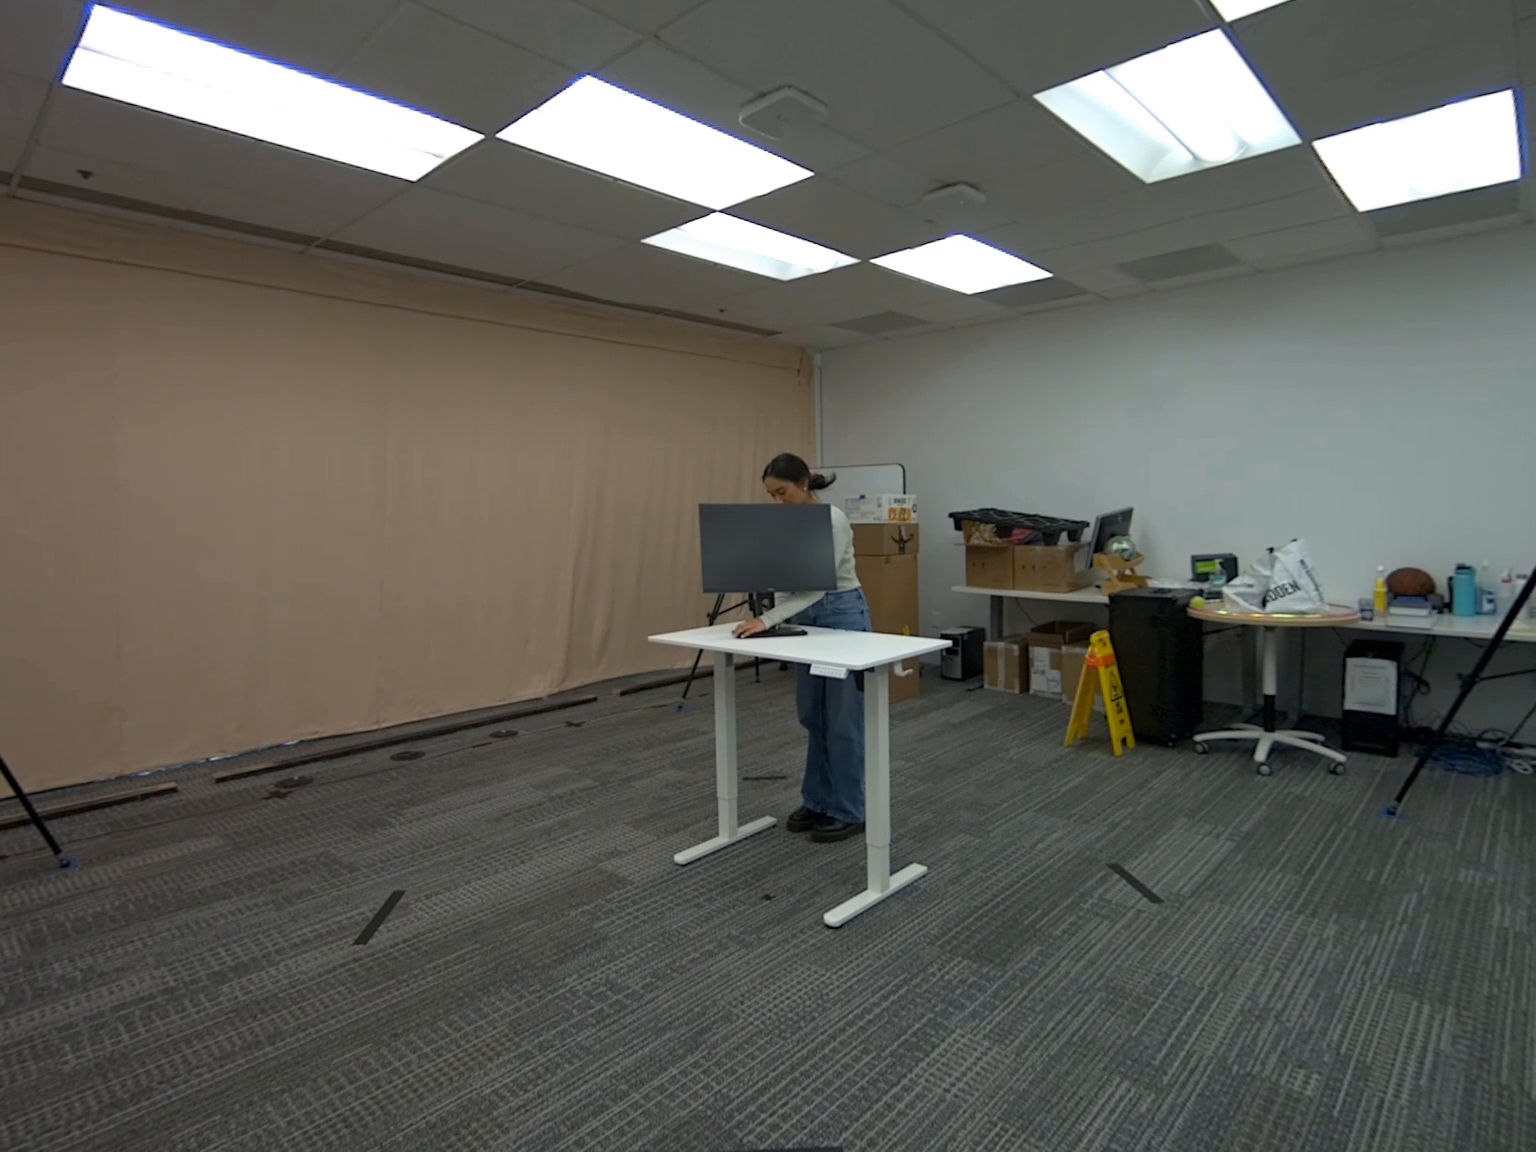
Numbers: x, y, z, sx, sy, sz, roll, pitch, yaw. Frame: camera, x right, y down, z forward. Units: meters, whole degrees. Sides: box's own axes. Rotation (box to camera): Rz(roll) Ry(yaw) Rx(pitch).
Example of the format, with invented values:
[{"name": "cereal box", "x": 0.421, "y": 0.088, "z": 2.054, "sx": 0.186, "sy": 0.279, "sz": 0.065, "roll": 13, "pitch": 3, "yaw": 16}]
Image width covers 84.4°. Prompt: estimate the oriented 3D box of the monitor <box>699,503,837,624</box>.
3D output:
[{"name": "monitor", "x": -0.002, "y": -0.029, "z": 3.313, "sx": 0.522, "sy": 0.514, "sz": 0.177, "roll": 0, "pitch": 5, "yaw": -13}]
